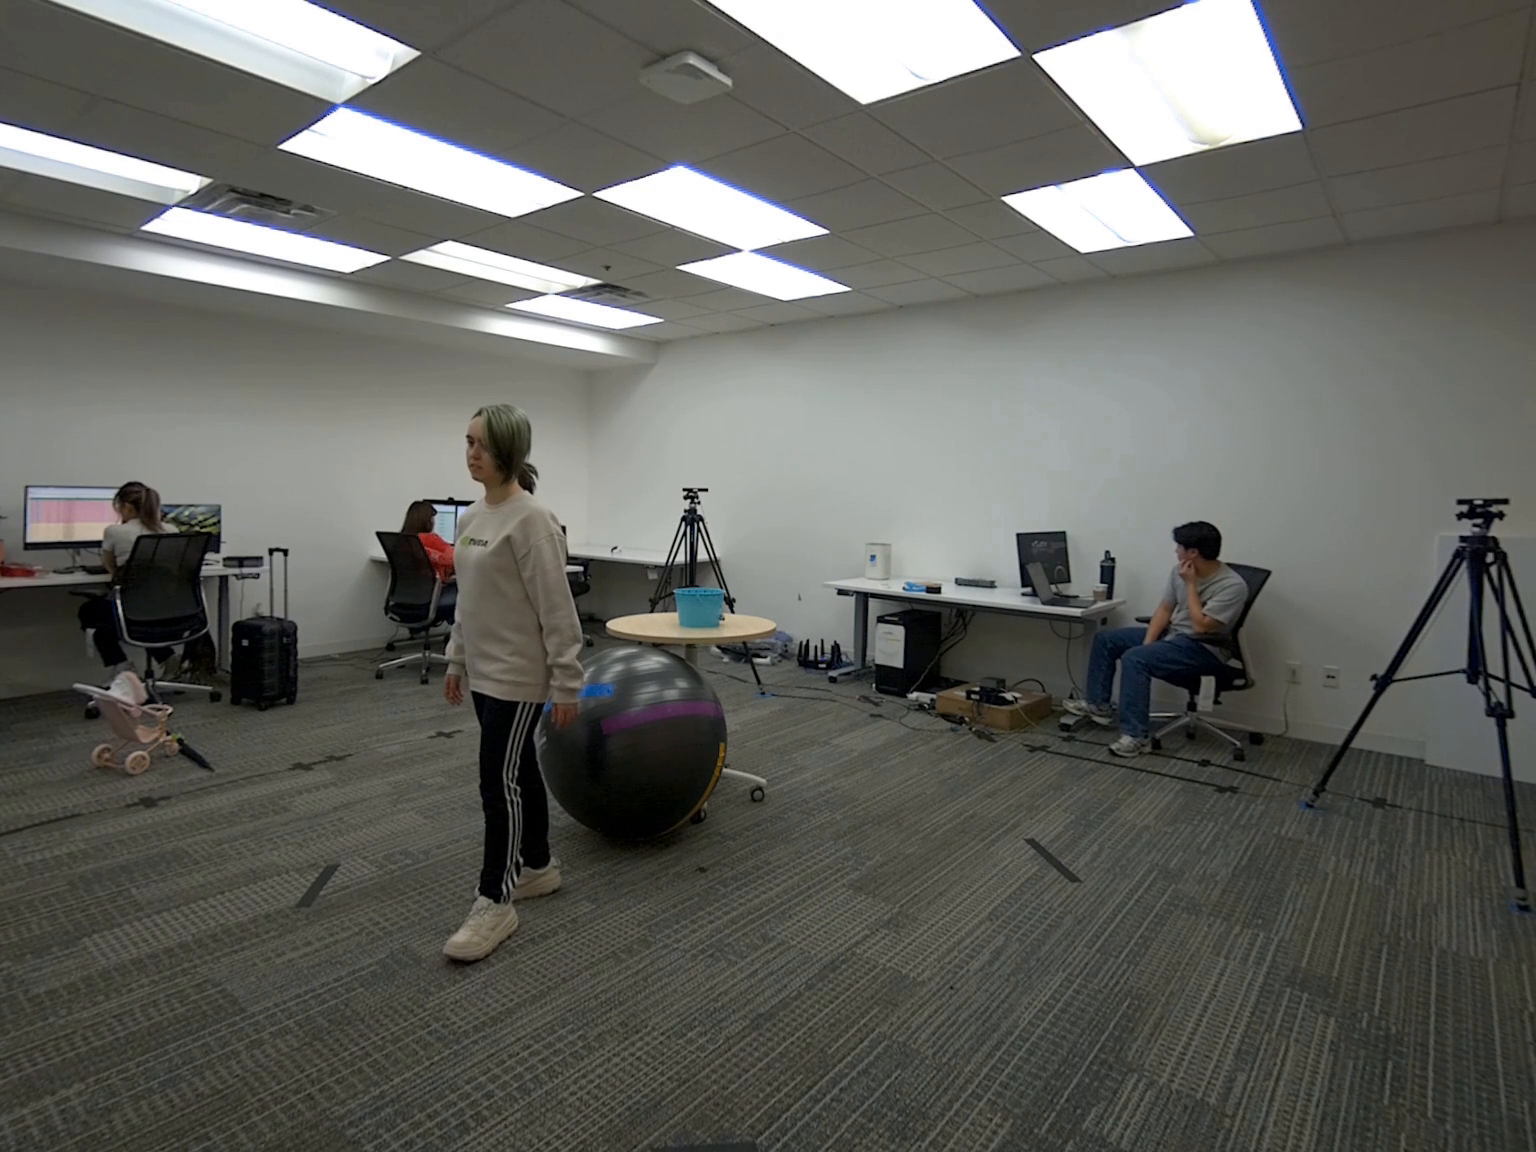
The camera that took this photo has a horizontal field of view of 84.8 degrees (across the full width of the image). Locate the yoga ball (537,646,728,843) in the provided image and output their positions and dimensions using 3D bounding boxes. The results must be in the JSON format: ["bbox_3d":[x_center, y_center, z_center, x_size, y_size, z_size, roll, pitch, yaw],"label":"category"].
[{"bbox_3d":[-0.563,0.663,3.440,0.757,0.756,0.762,1,4,-2],"label":"yoga ball"}]
